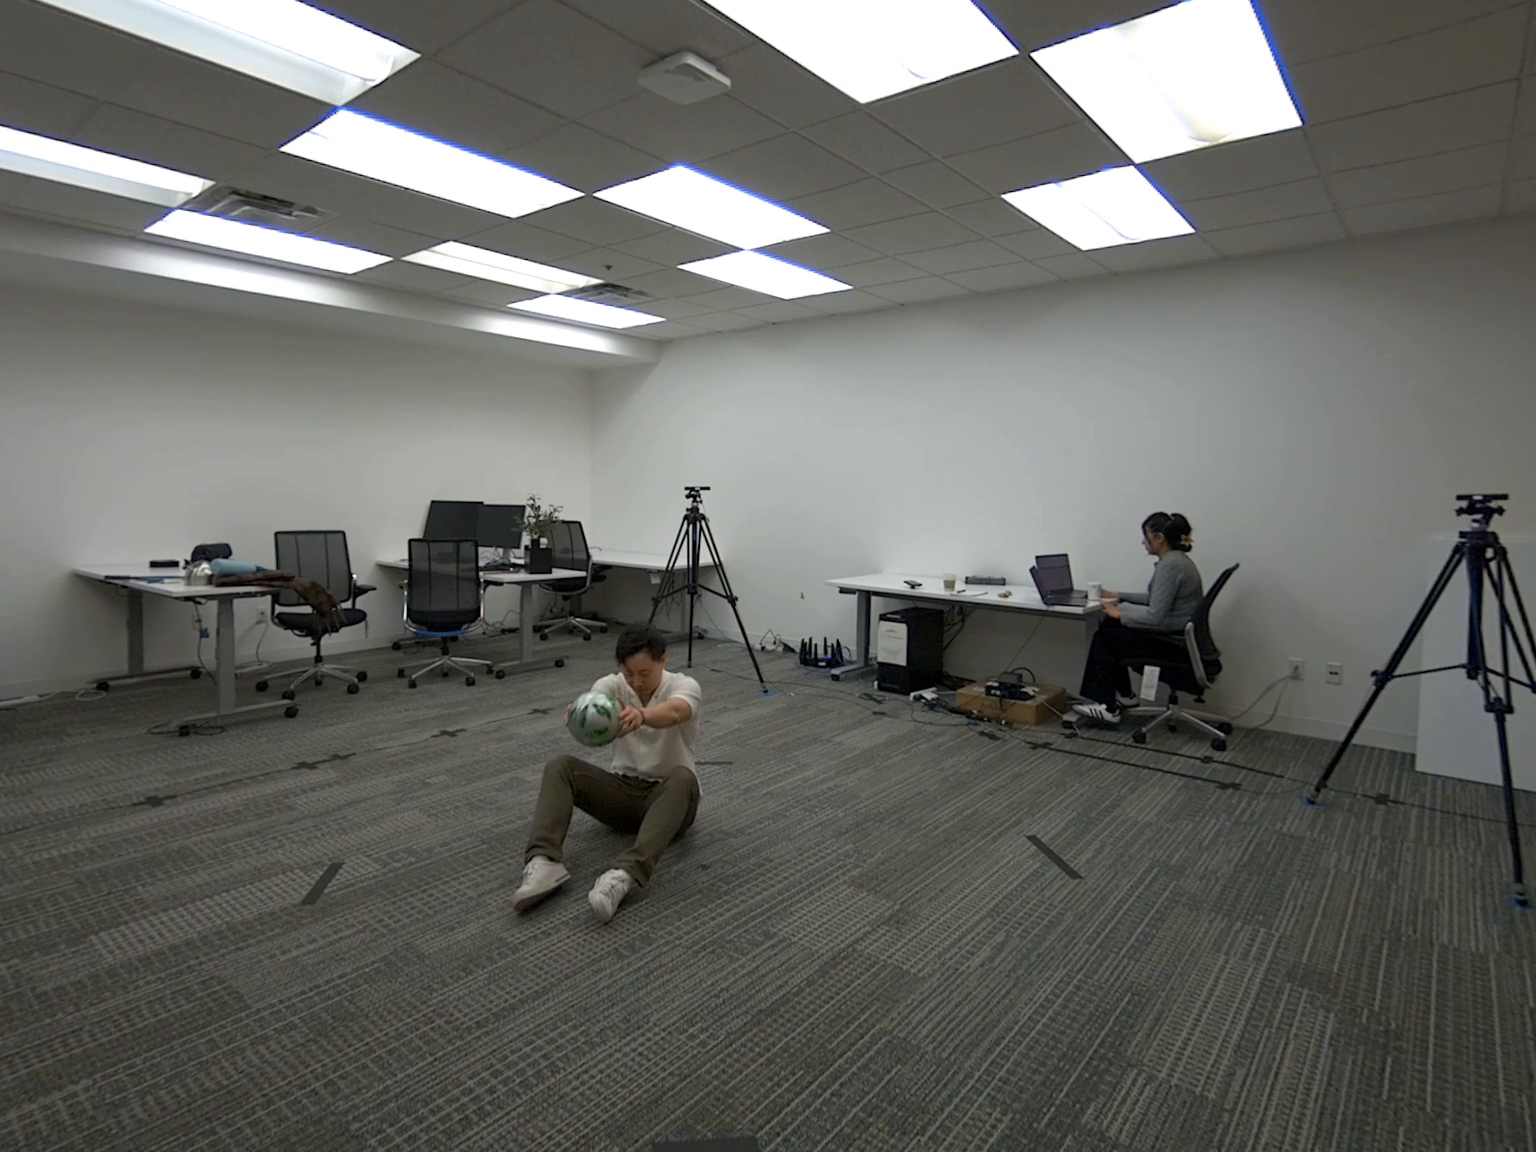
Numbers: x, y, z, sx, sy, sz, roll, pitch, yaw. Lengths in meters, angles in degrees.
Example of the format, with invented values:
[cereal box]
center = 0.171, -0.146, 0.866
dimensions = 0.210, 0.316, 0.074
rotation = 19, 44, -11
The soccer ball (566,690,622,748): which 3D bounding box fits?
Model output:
[soccer ball]
center = -0.581, 0.474, 2.841
dimensions = 0.187, 0.187, 0.188
rotation = 1, 4, -2
